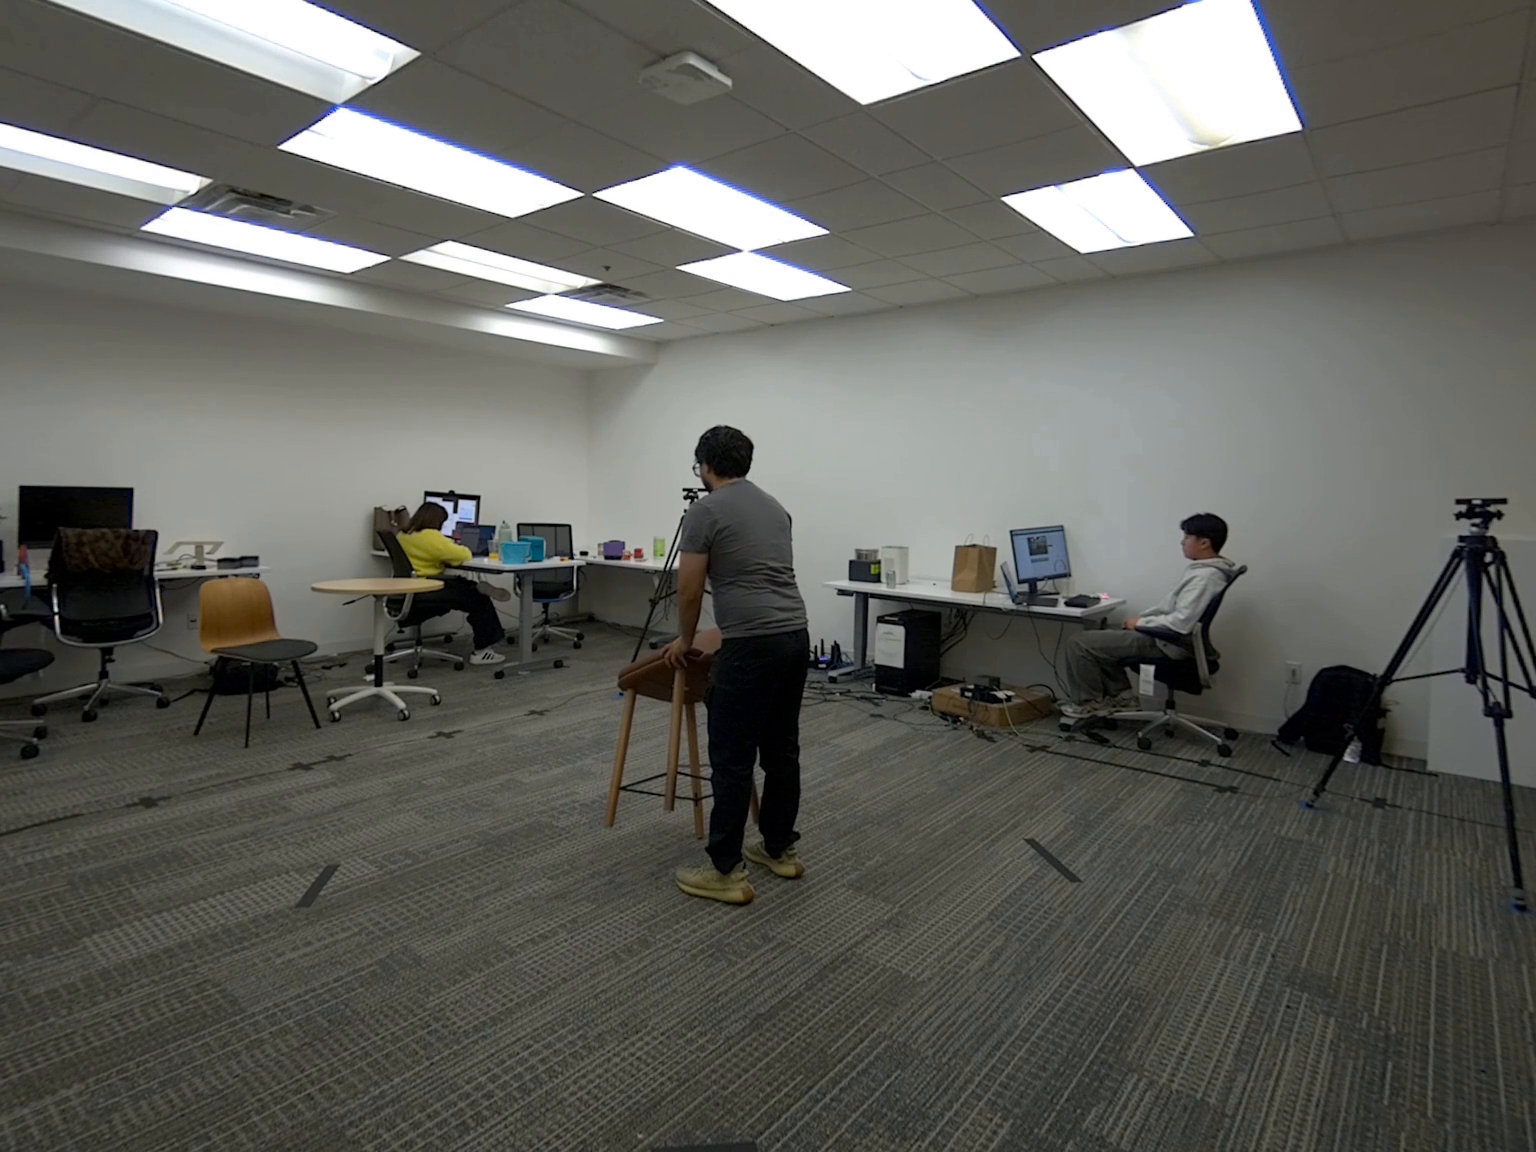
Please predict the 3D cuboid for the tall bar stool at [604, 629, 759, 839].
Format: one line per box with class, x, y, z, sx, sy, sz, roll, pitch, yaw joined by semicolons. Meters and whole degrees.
tall bar stool;-0.339;0.532;3.369;0.450;0.912;0.462;21;-35;-35
